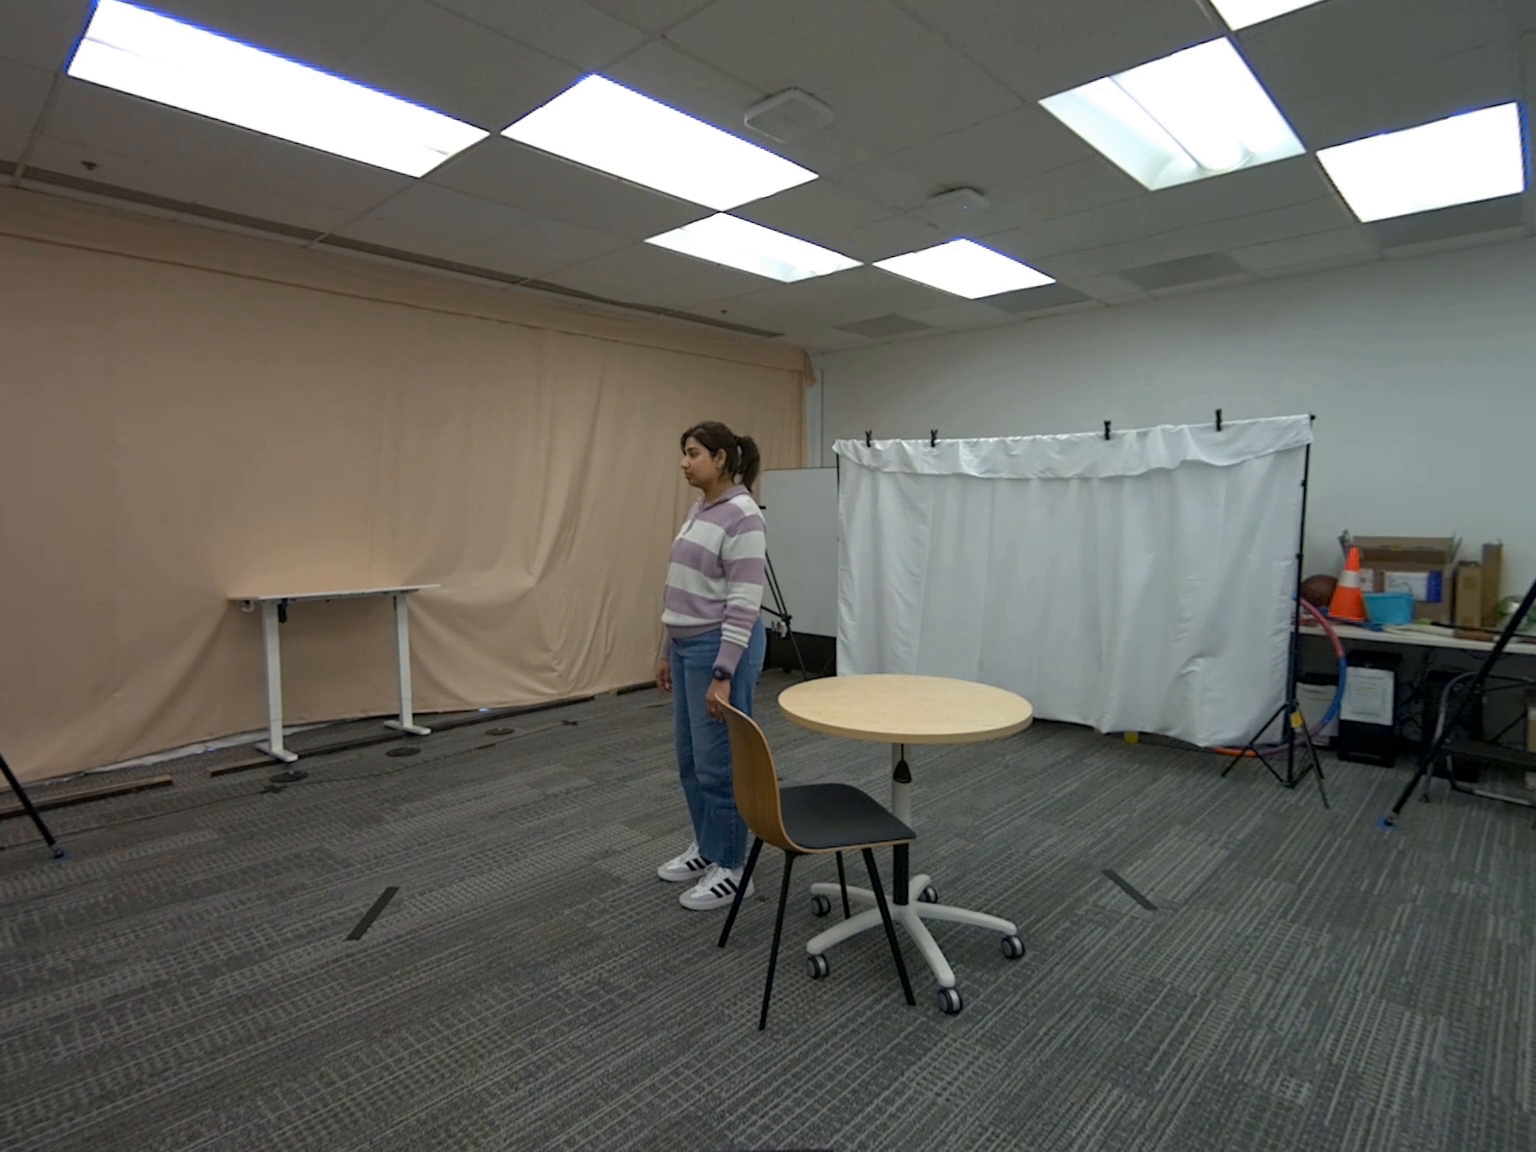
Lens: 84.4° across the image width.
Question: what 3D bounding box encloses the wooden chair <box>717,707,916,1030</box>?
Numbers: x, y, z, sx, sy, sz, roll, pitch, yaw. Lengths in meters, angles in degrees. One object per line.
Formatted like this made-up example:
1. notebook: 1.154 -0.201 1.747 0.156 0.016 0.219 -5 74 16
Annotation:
1. wooden chair: 0.141 0.758 2.477 0.515 0.875 0.487 -5 4 -16
